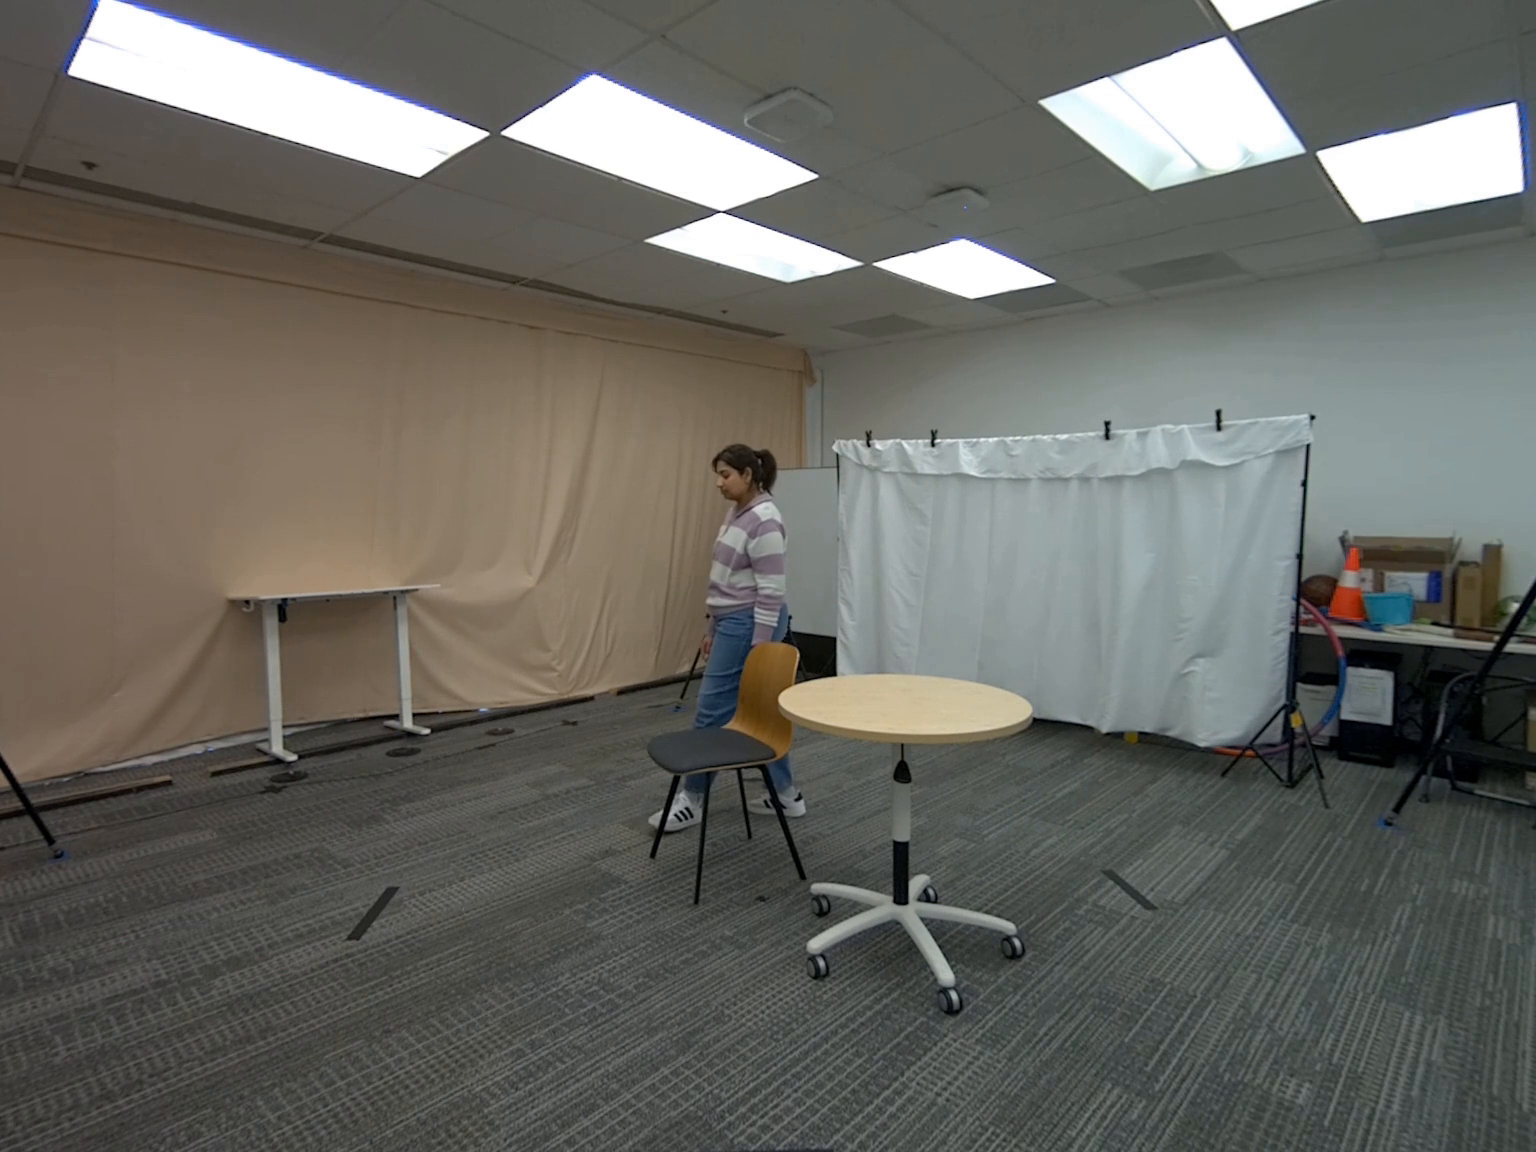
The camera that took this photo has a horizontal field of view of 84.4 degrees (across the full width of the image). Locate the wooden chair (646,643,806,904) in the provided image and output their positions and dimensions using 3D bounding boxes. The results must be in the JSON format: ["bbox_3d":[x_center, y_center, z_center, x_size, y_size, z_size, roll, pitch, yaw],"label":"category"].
[{"bbox_3d":[-0.169,0.697,3.200,0.509,0.877,0.491,3,2,-27],"label":"wooden chair"}]
